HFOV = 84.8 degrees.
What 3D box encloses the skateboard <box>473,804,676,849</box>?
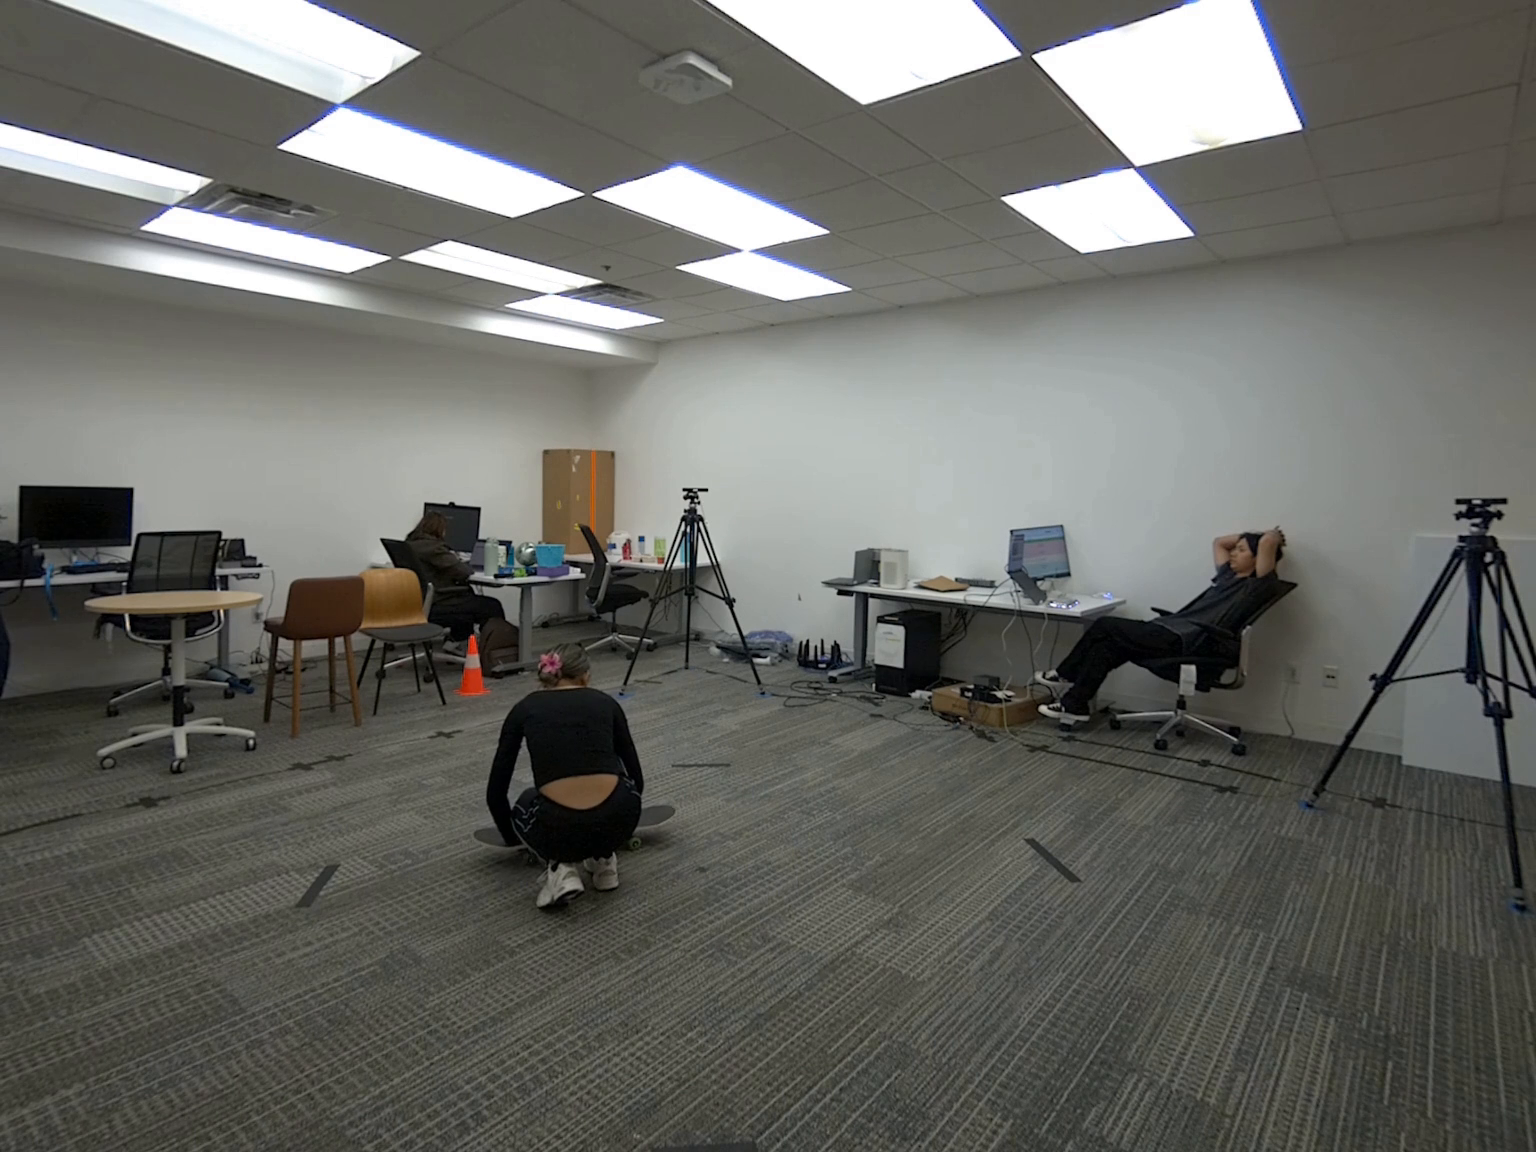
[{"bbox_3d":[-0.734,0.982,3.254,0.767,0.110,0.199,-1,6,-25],"label":"skateboard"}]
